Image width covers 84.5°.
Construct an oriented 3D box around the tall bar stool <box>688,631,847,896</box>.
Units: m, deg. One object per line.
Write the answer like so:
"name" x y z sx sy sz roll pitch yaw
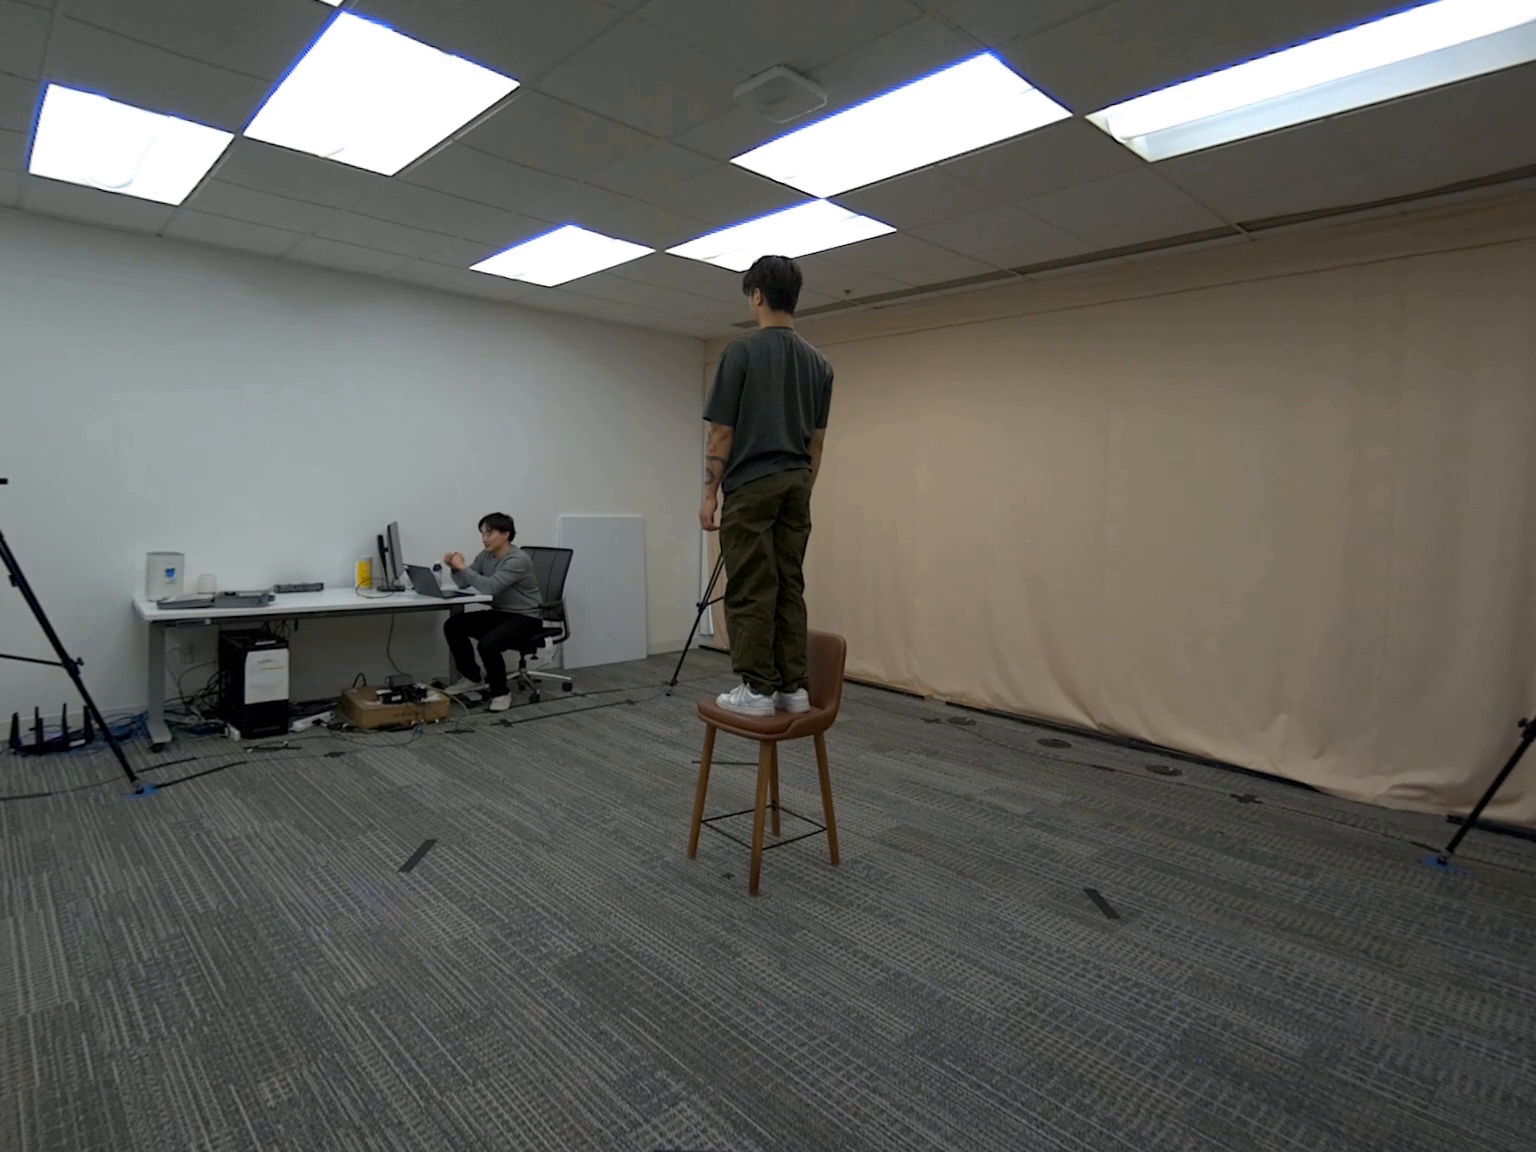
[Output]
"tall bar stool" -0.003 0.663 3.220 0.456 0.888 0.468 1 3 -40
